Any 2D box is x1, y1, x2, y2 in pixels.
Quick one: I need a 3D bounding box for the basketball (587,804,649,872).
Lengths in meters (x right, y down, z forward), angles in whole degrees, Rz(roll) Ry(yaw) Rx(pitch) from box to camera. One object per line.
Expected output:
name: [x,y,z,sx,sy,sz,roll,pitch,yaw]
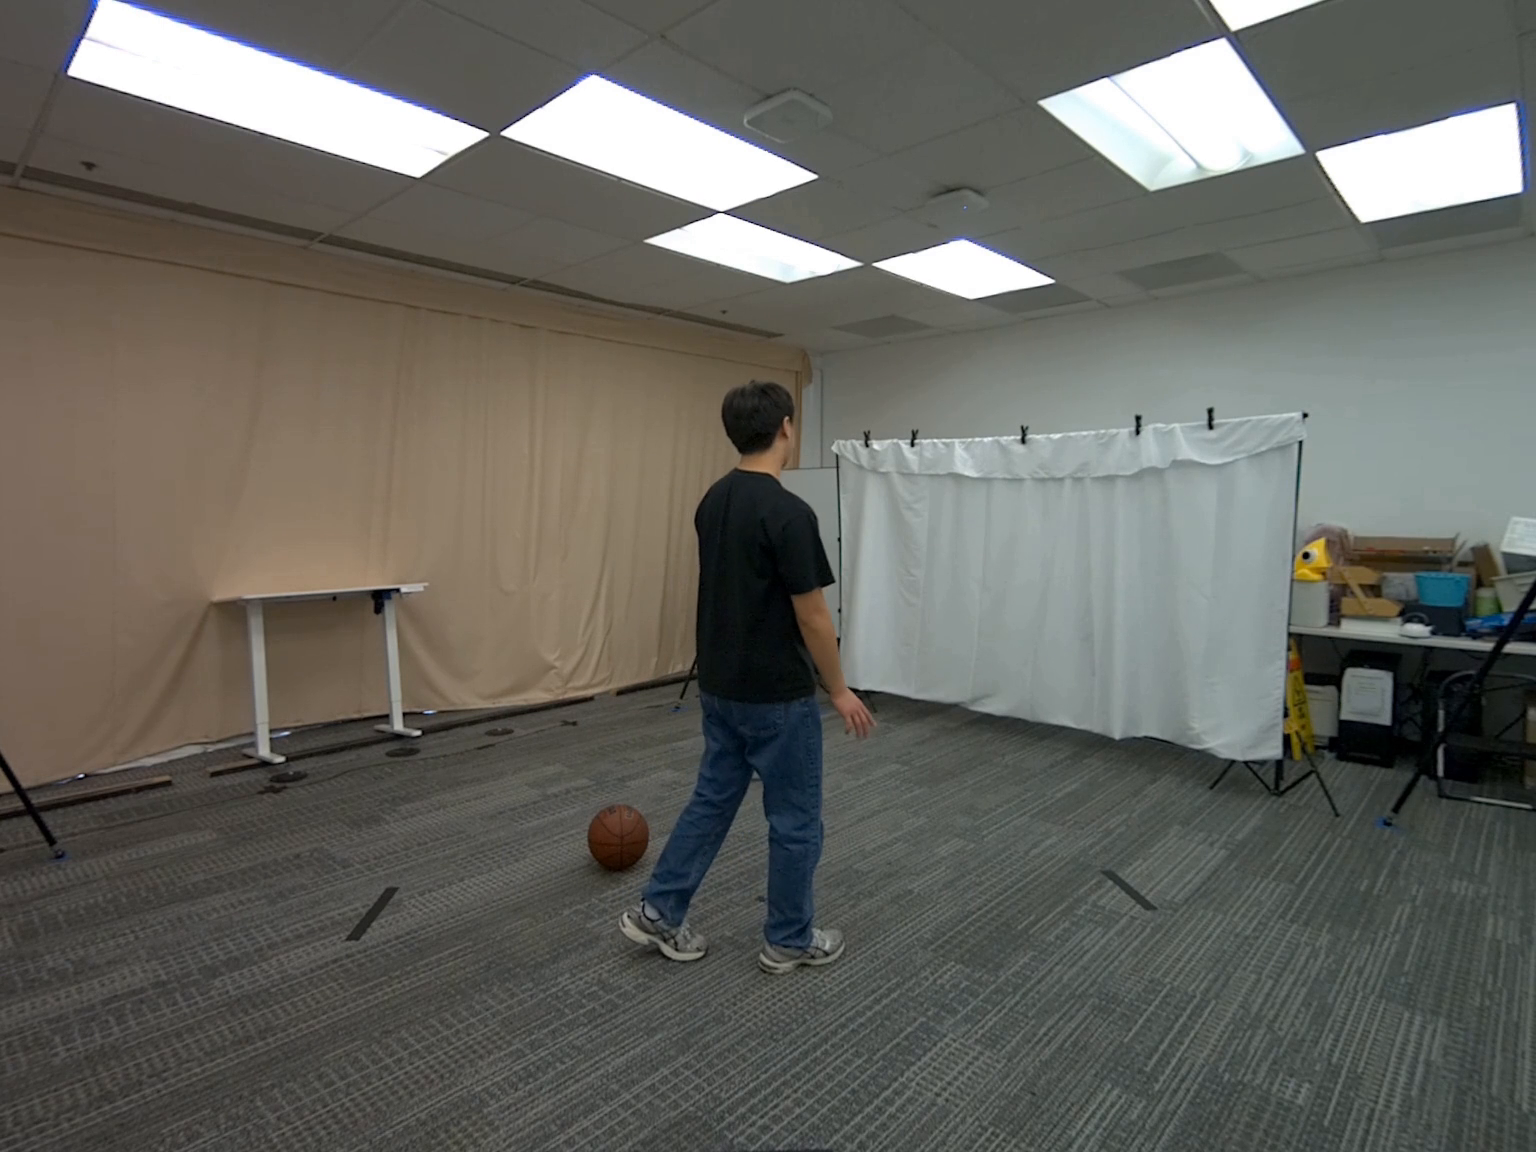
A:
basketball: [-0.579,1.001,3.256,0.236,0.235,0.237,0,4,-2]
